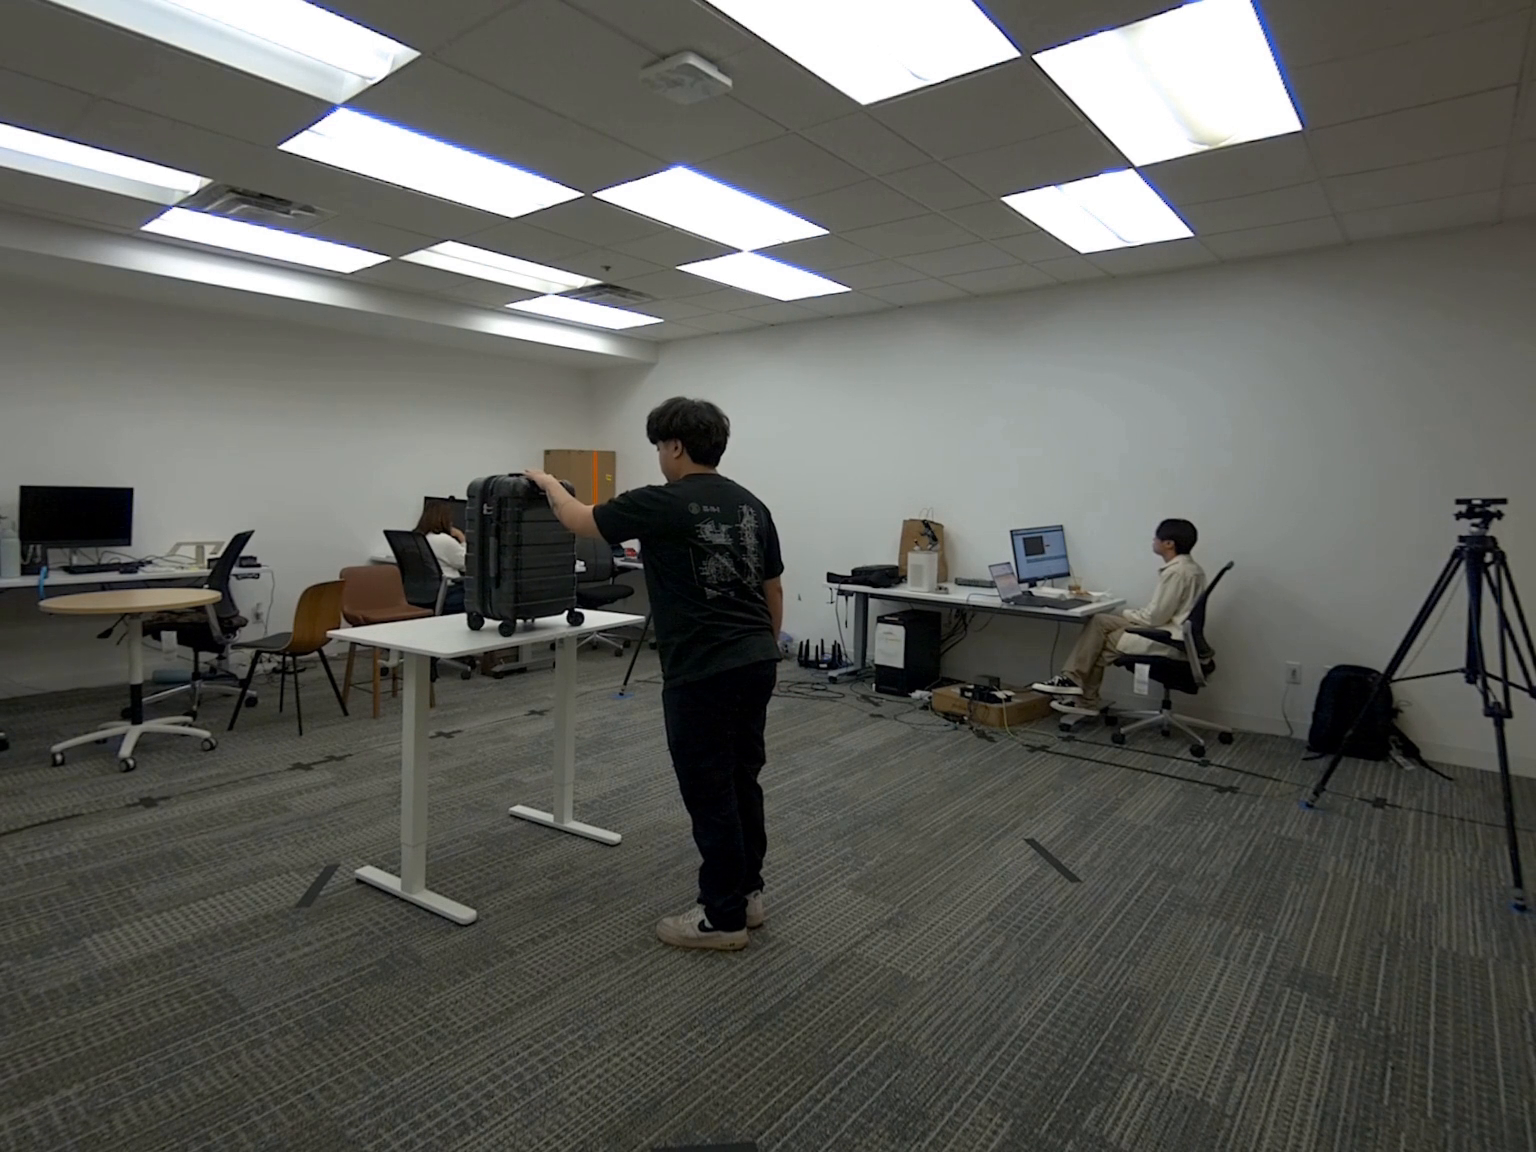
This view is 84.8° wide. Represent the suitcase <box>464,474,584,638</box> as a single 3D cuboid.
[{"bbox_3d":[-0.894,-0.091,3.032,0.255,0.548,0.365,2,3,30],"label":"suitcase"}]
